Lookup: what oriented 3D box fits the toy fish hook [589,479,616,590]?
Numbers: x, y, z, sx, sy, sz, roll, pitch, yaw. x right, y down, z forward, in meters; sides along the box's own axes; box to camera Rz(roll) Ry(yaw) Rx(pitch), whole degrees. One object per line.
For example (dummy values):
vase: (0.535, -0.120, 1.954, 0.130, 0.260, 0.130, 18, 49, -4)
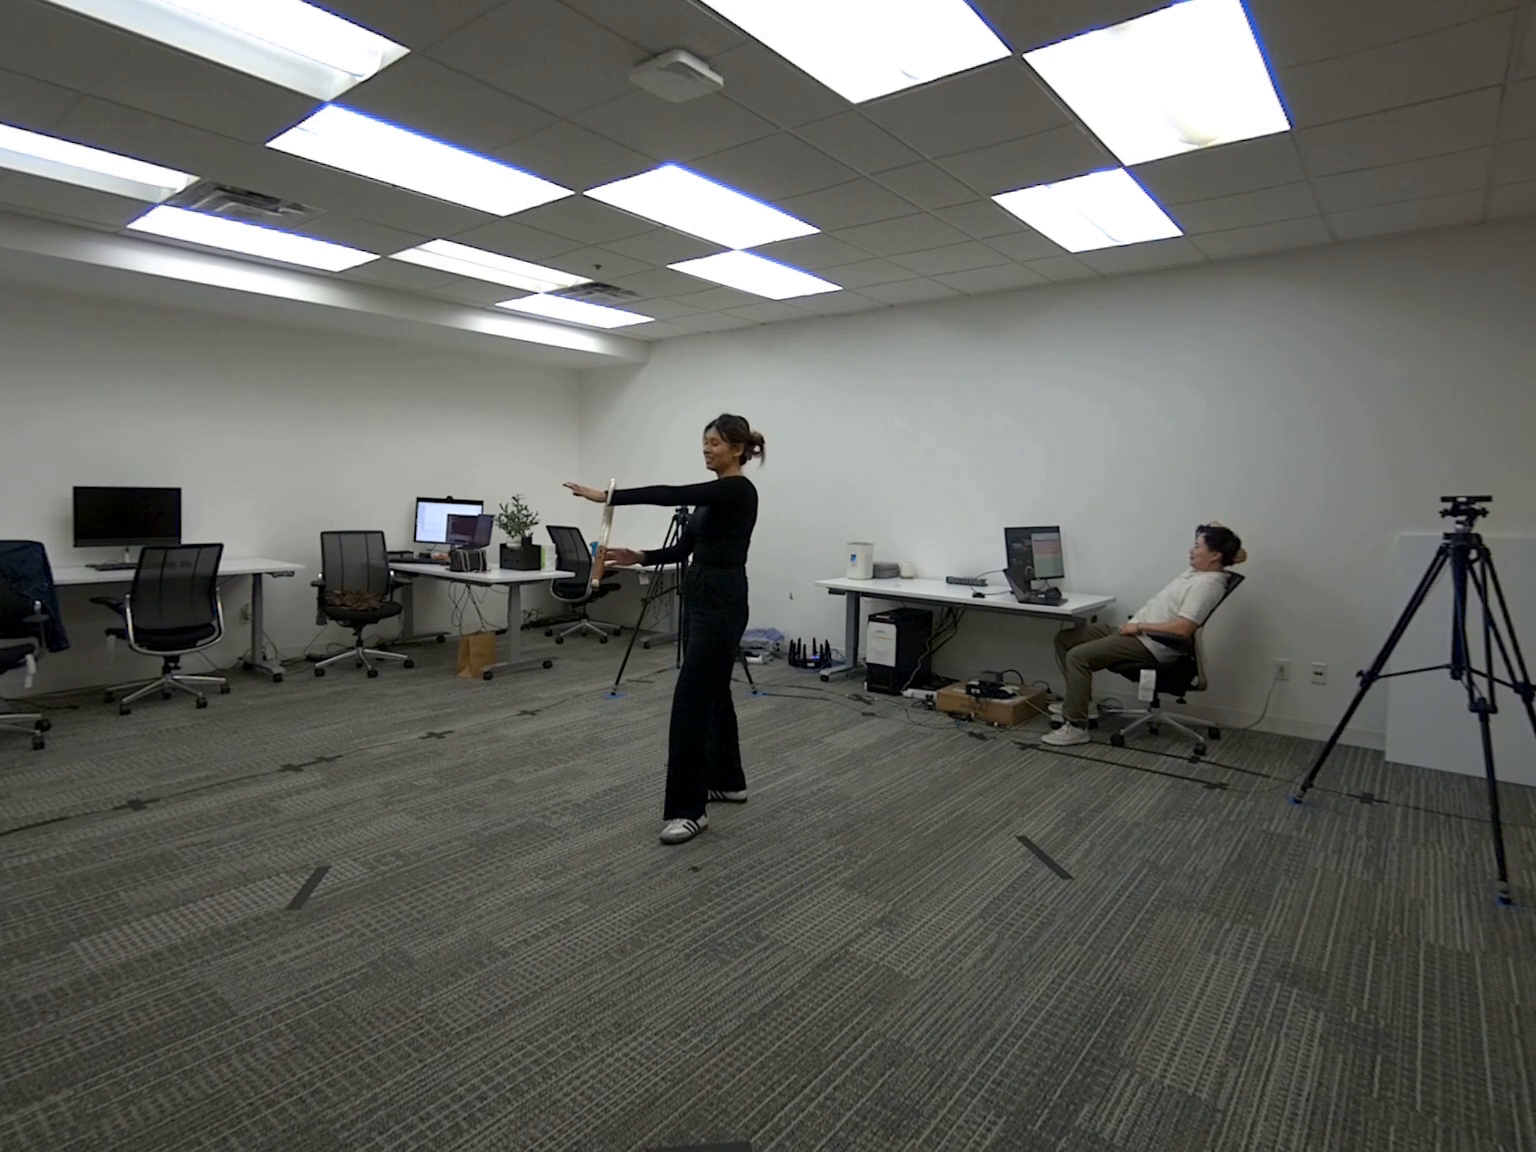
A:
toy fish hook: (-0.637, -0.170, 3.238, 0.048, 0.521, 0.220, 5, -42, -7)
